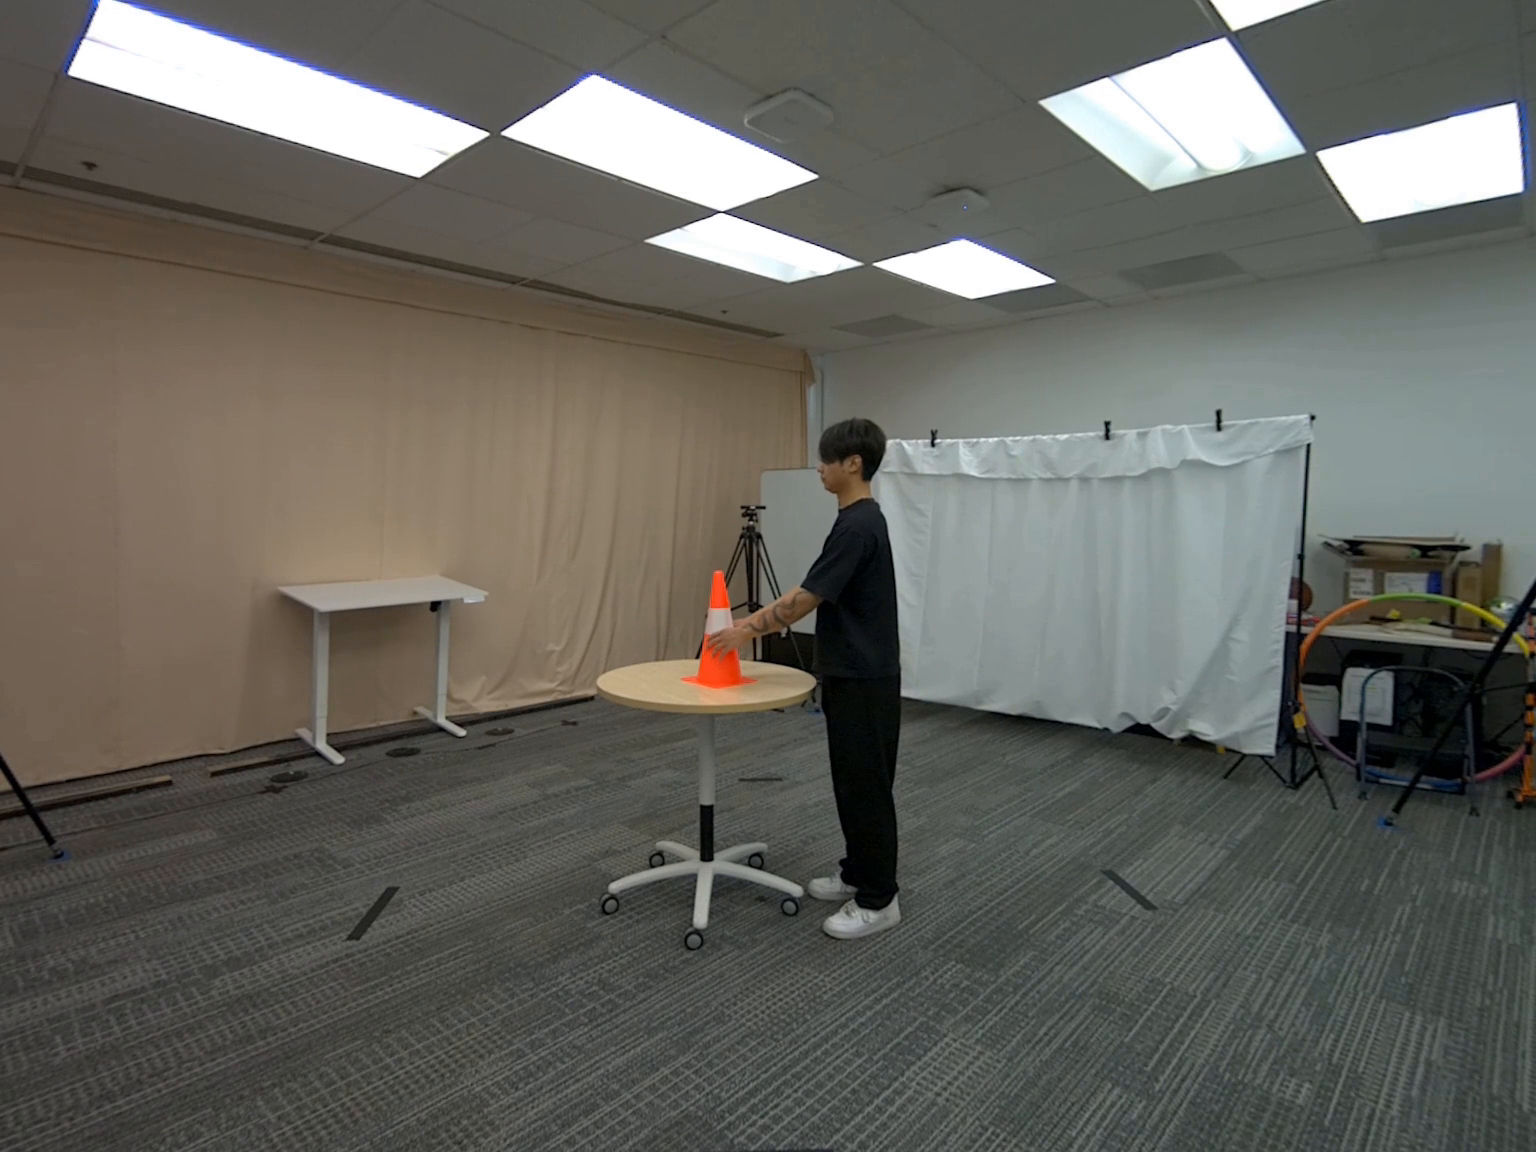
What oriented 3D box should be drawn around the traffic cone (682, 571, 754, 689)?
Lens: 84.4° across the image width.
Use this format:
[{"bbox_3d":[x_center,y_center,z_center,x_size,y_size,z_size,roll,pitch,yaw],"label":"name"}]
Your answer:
[{"bbox_3d":[-0.168,0.182,2.923,0.212,0.383,0.197,2,3,40],"label":"traffic cone"}]
